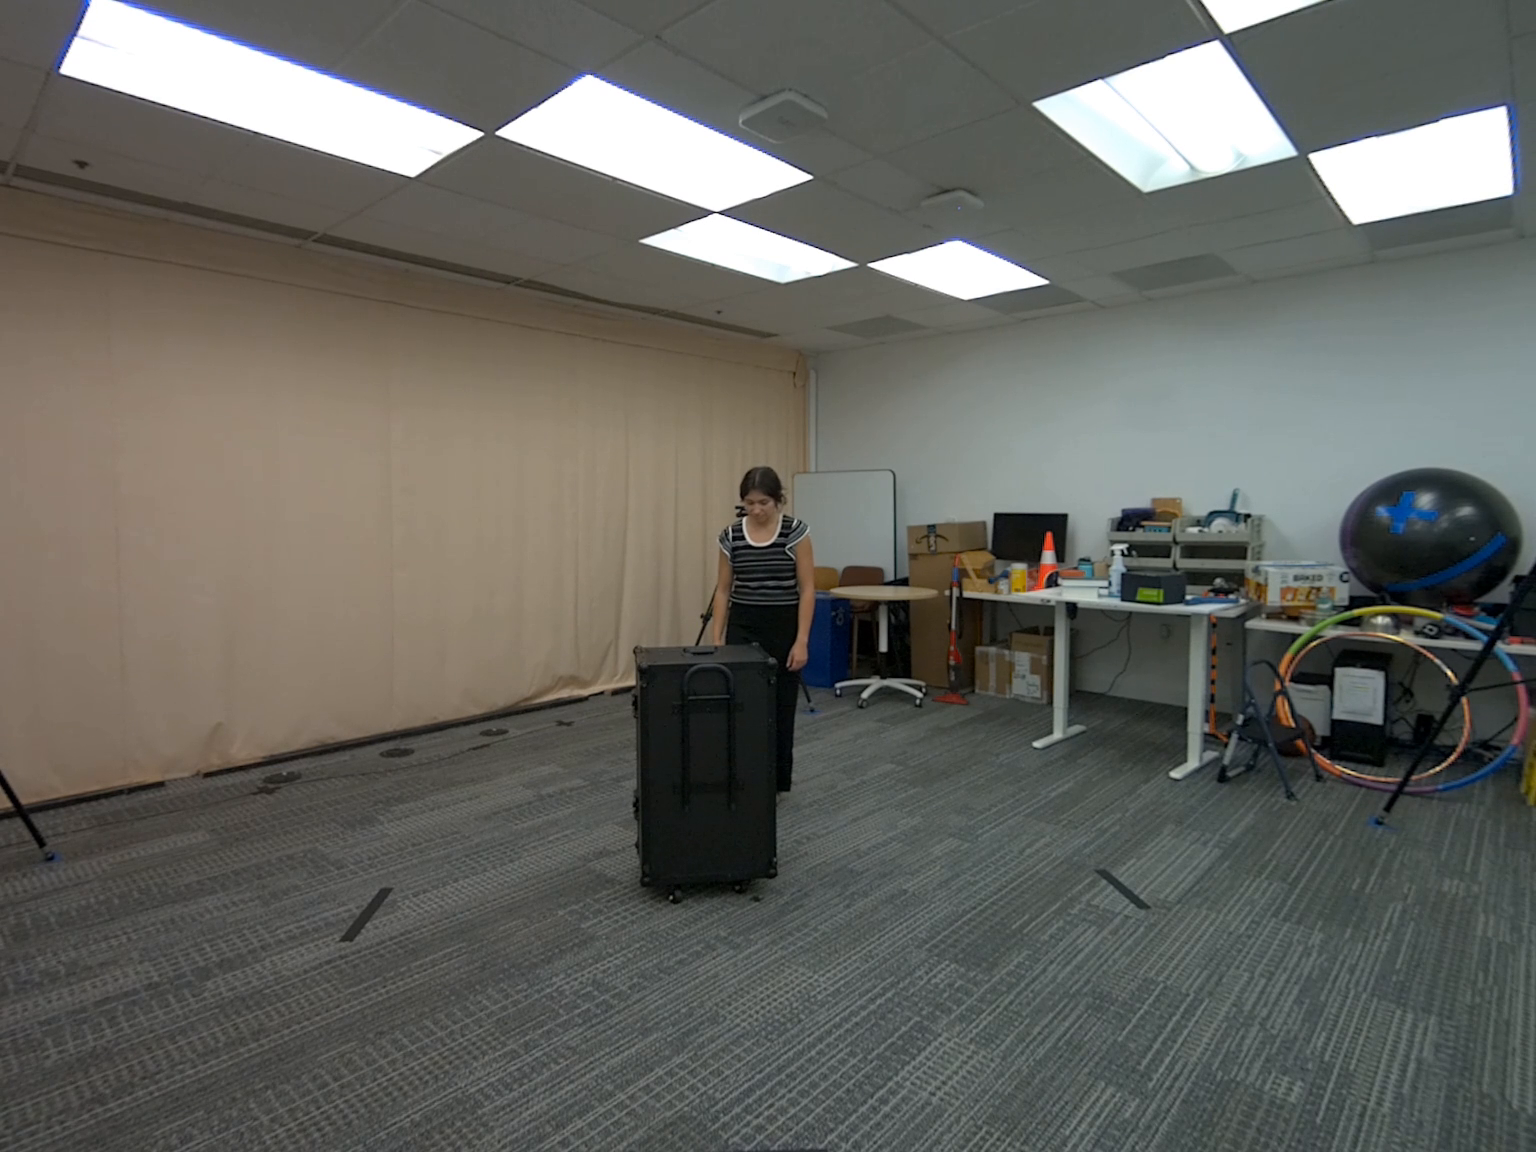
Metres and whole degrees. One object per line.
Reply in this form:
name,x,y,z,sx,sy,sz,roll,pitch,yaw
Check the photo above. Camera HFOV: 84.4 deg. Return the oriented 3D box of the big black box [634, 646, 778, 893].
big black box,-0.234,0.708,3.101,0.517,0.860,0.400,0,3,-8
